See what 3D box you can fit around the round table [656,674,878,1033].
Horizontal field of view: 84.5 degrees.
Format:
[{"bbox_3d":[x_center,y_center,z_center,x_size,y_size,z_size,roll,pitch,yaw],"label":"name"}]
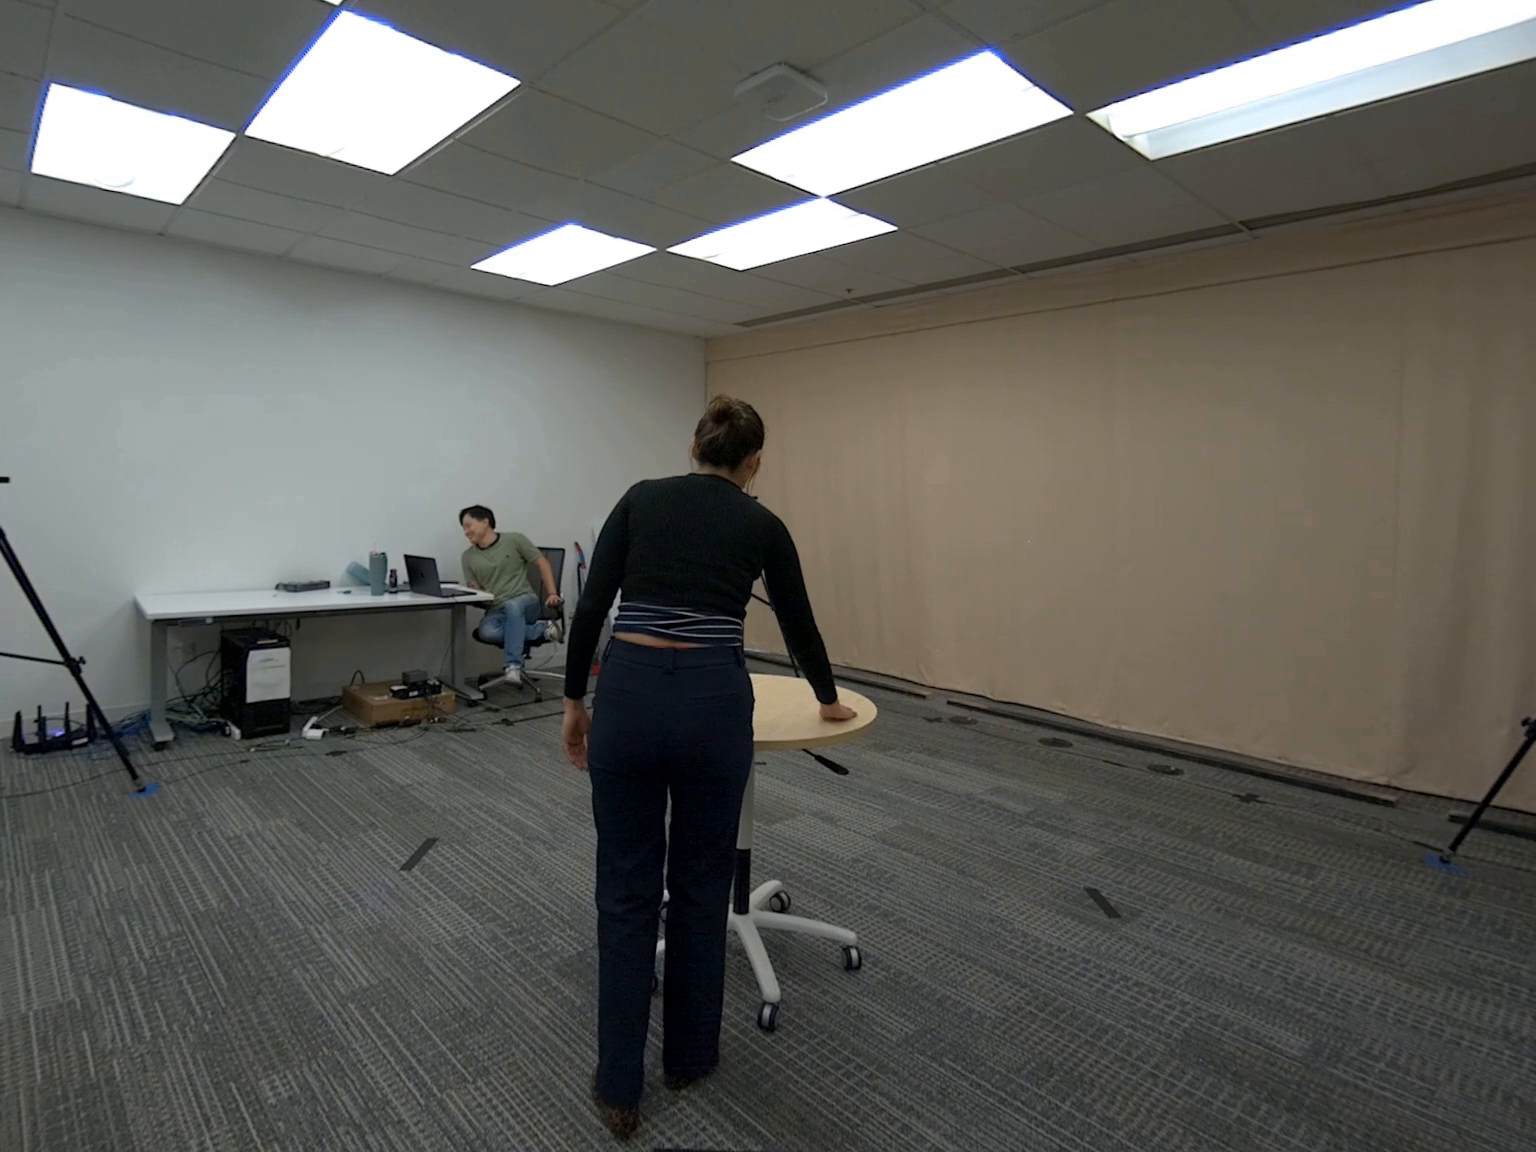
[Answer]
[{"bbox_3d":[-0.080,0.770,2.530,0.763,0.791,0.767,2,5,-1],"label":"round table"}]
